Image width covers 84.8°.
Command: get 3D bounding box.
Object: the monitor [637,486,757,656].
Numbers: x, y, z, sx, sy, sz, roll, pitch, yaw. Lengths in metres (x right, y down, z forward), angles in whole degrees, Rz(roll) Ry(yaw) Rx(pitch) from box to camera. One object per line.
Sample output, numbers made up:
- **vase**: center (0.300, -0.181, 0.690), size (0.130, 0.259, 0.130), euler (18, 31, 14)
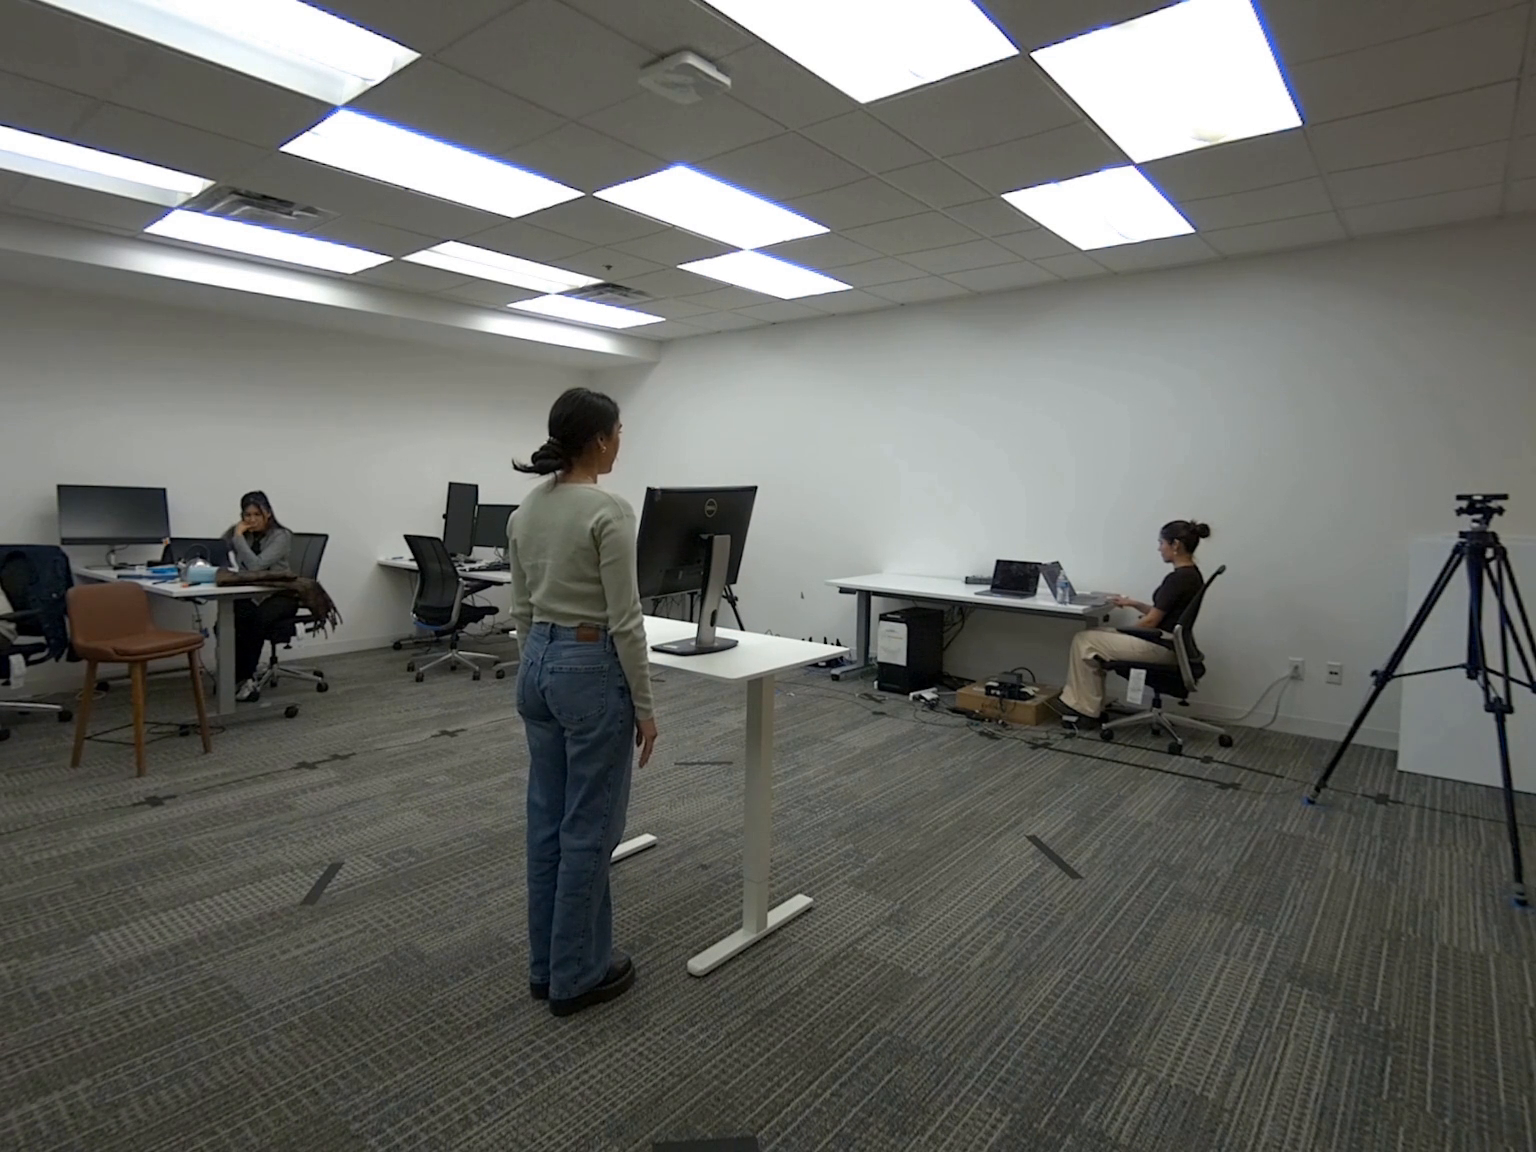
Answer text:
- **monitor**: center (-0.224, -0.031, 2.680), size (0.180, 0.514, 0.516), euler (1, 5, 35)
